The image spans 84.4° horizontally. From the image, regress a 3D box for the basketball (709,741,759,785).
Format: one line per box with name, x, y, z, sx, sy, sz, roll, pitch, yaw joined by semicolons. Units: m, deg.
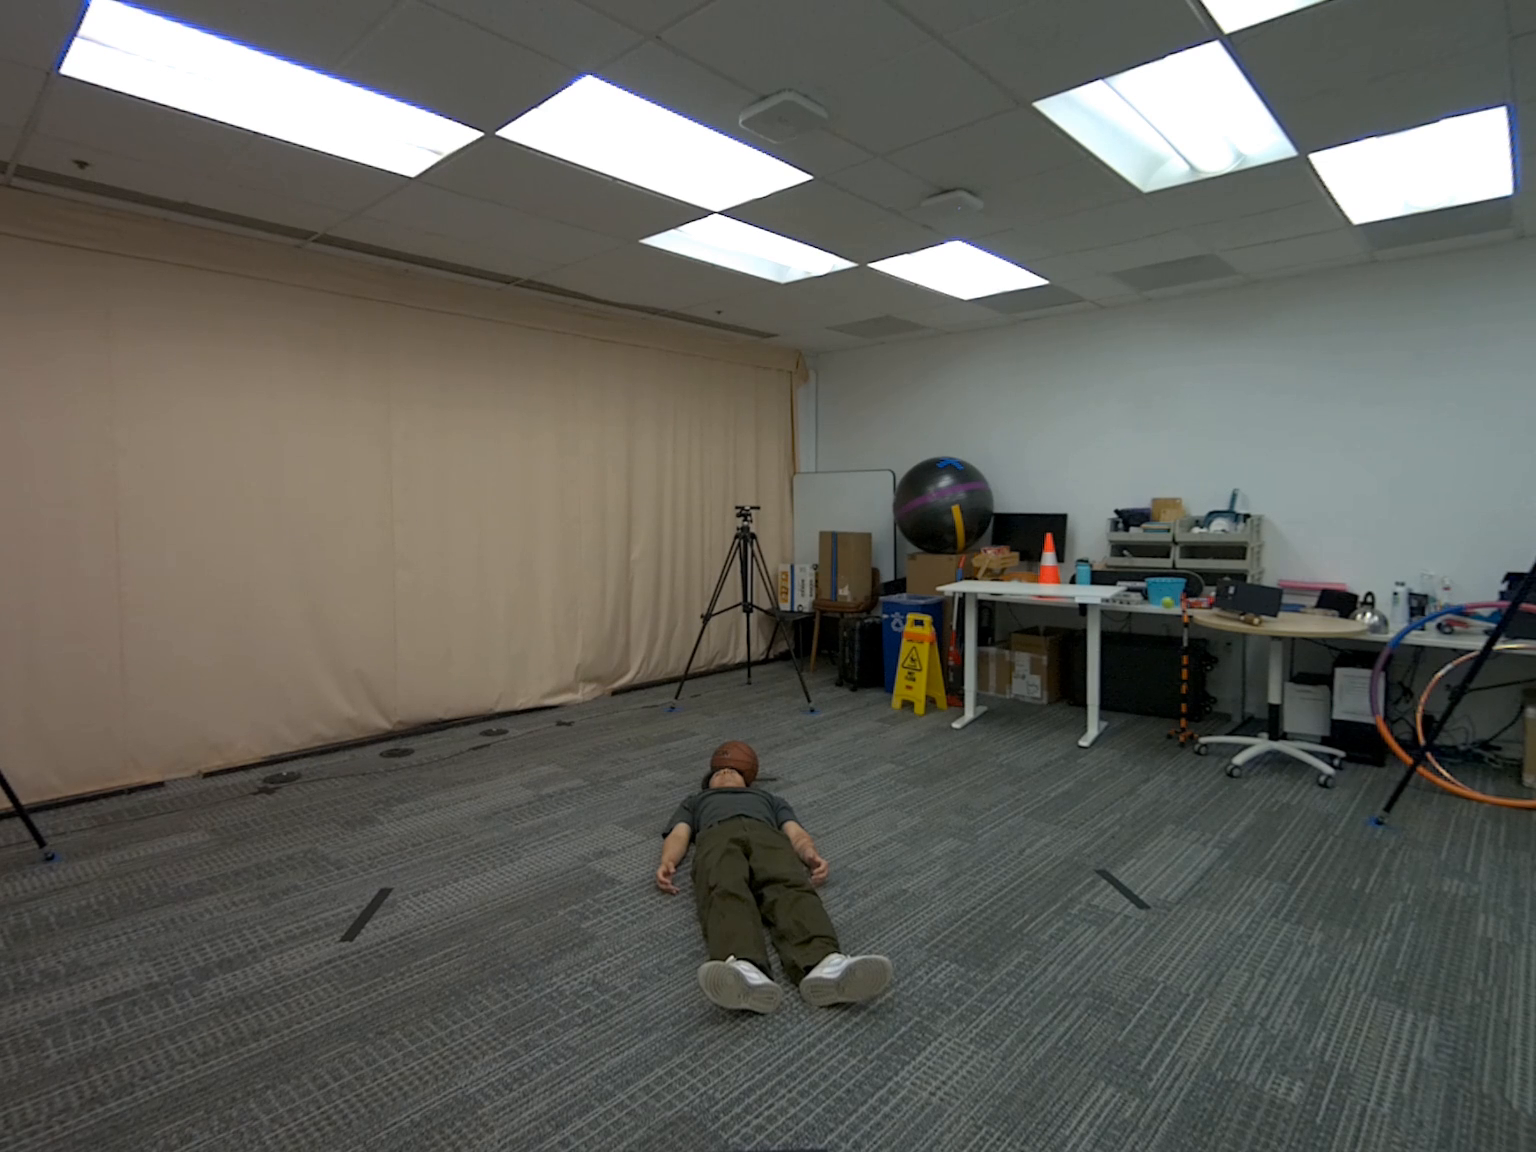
basketball;-0.164;0.928;4.148;0.236;0.235;0.237;0;4;-2
